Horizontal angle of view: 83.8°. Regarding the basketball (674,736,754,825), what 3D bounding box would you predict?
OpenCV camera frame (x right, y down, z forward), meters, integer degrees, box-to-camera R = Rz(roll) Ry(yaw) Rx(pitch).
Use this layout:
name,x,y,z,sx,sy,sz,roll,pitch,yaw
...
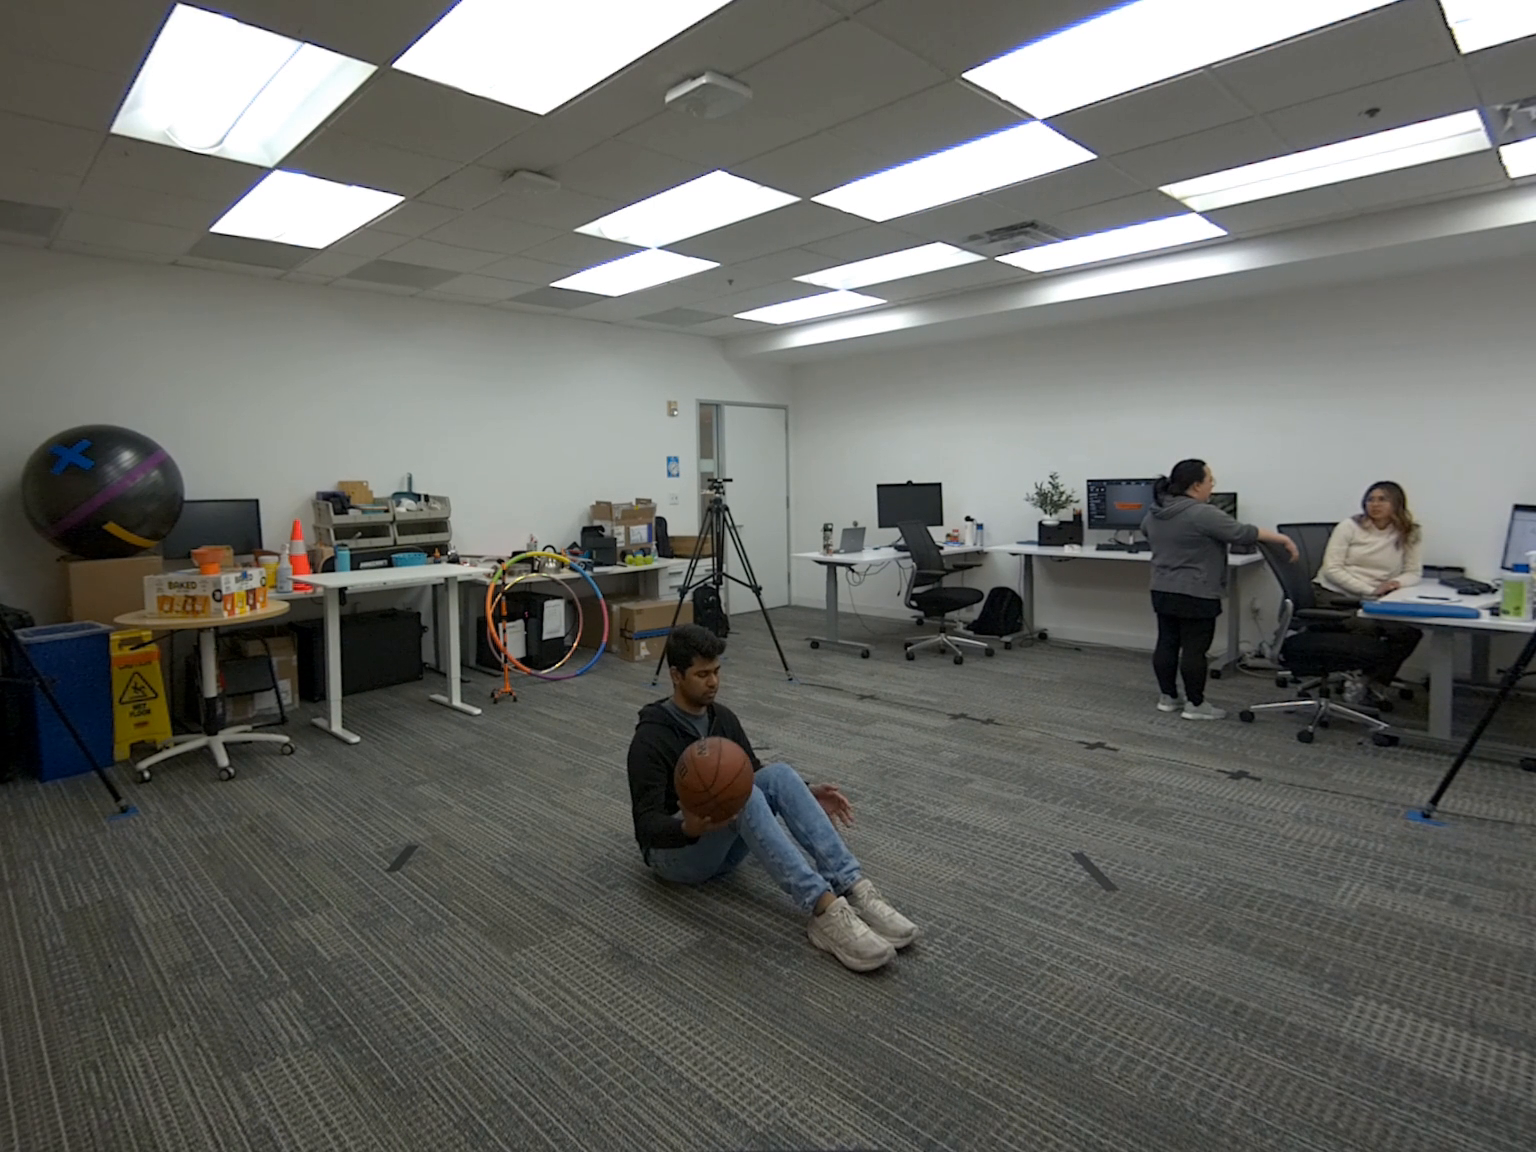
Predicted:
name,x,y,z,sx,sy,sz,roll,pitch,yaw
basketball,-0.151,0.619,2.560,0.236,0.235,0.237,-1,5,-2
